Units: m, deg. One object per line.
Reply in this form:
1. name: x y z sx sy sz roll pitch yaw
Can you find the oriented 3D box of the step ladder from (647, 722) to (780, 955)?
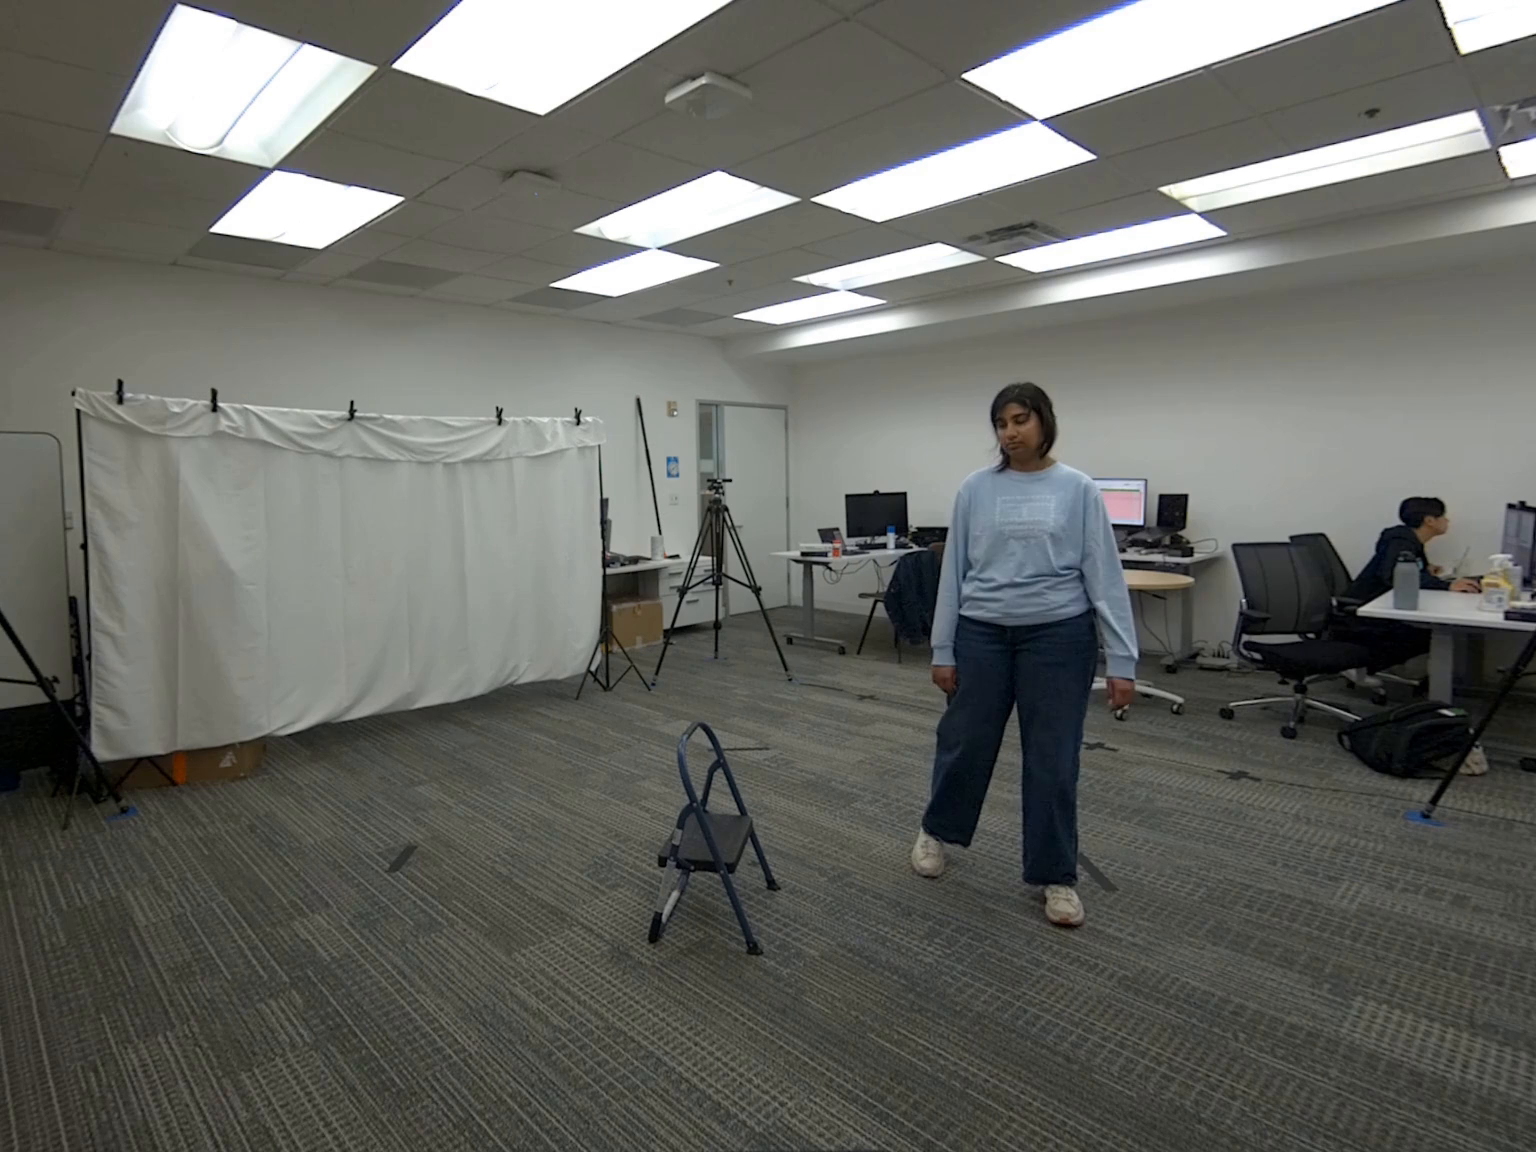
1. step ladder: -0.167 0.787 2.728 0.353 0.604 0.428 0 5 10
